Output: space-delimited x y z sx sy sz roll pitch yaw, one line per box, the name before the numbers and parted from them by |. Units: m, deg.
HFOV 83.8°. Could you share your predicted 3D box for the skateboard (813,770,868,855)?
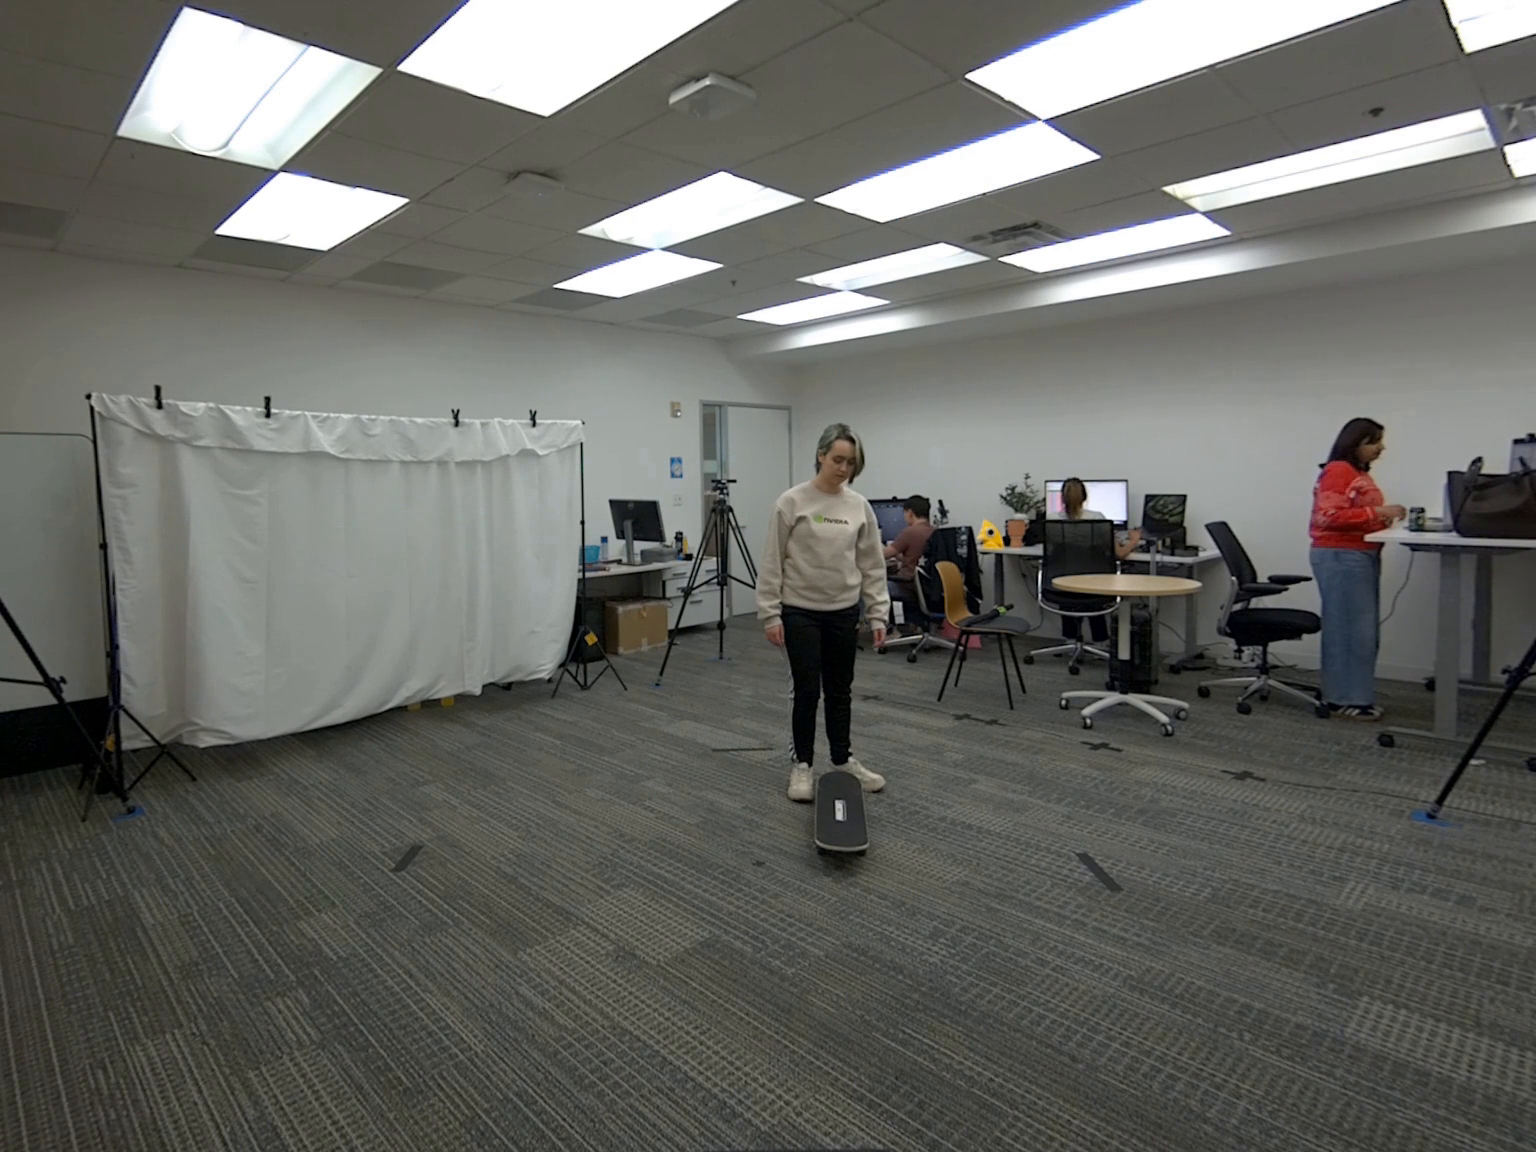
skateboard | 0.299 0.967 3.360 0.194 0.110 0.785 0 6 3
